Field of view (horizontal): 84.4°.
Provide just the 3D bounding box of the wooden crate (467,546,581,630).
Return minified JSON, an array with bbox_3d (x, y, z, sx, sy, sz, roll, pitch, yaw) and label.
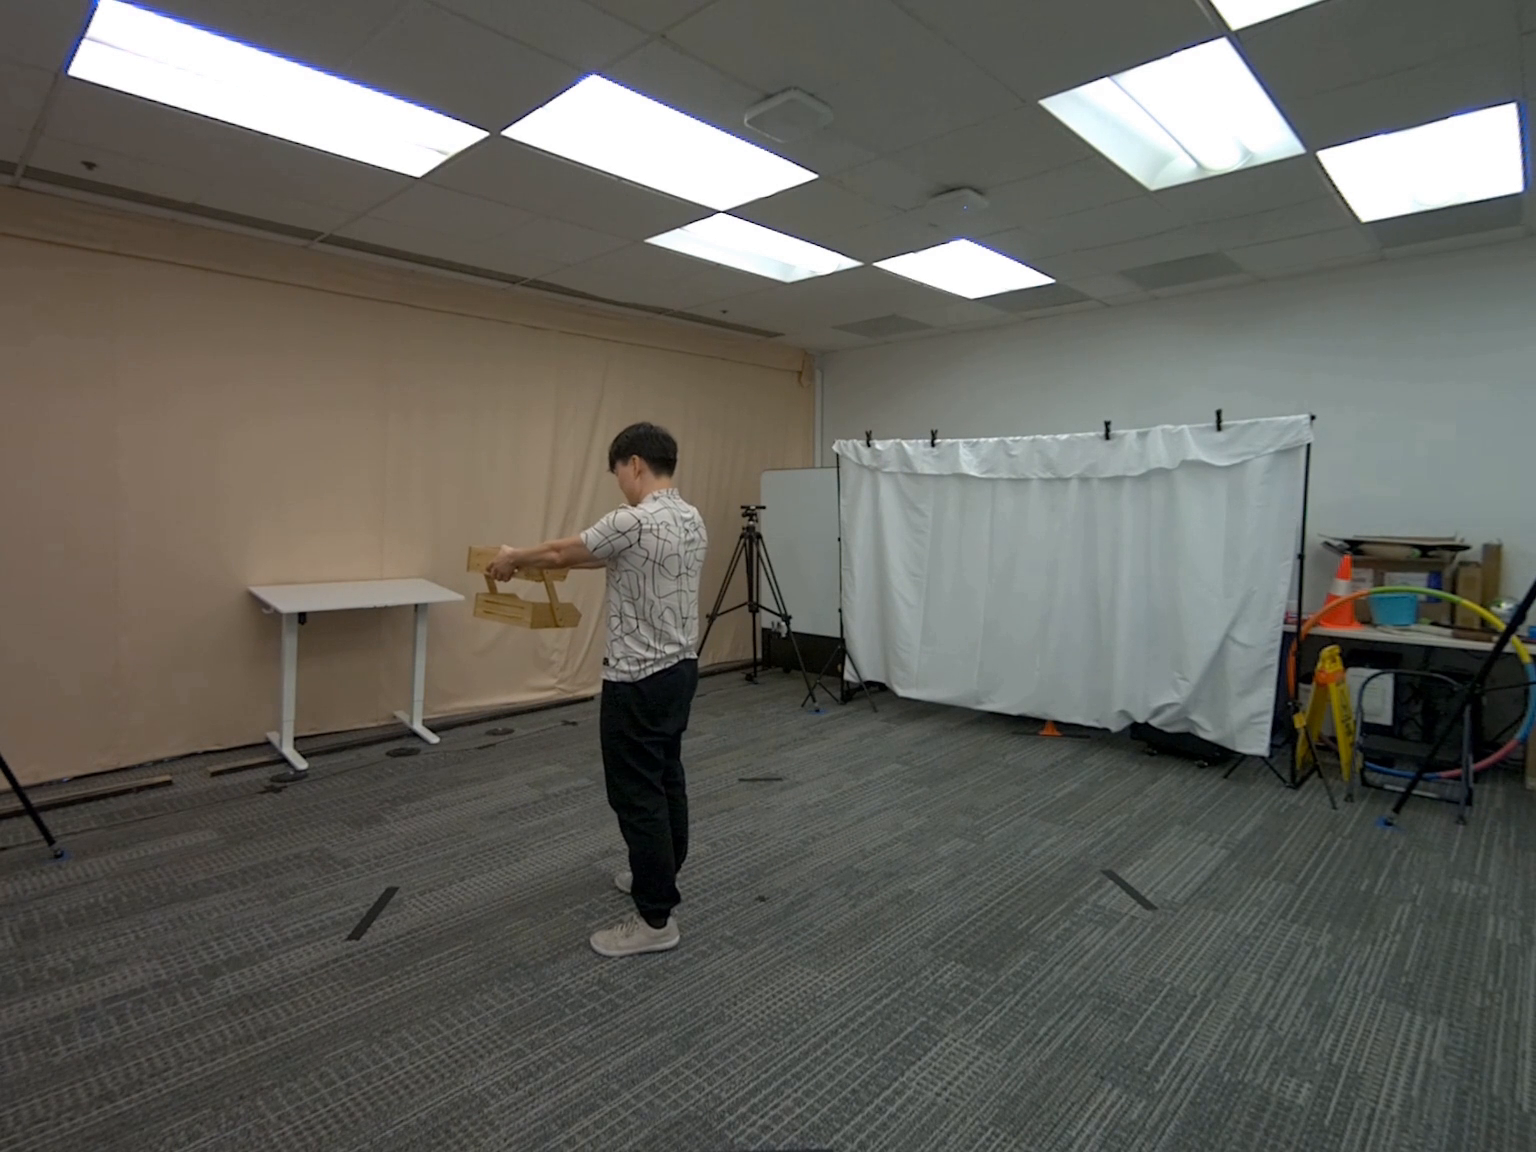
[{"bbox_3d":[-0.886,0.037,3.058,0.334,0.273,0.293,6,2,31],"label":"wooden crate"}]
